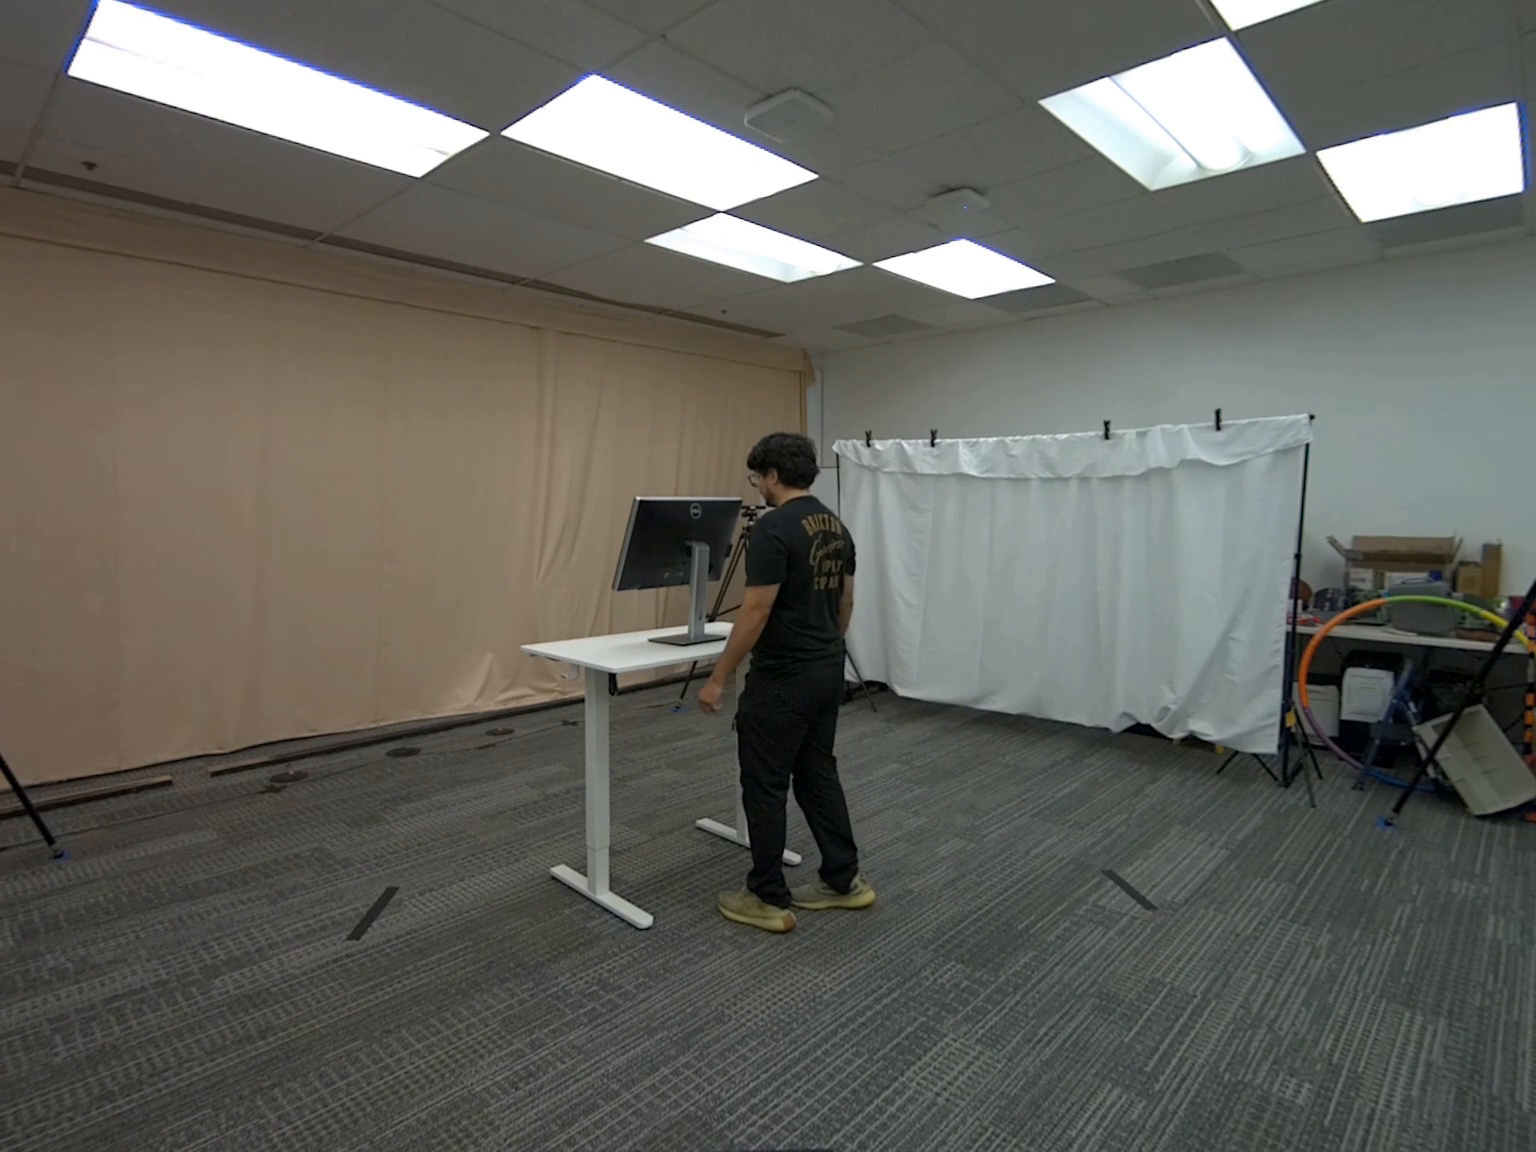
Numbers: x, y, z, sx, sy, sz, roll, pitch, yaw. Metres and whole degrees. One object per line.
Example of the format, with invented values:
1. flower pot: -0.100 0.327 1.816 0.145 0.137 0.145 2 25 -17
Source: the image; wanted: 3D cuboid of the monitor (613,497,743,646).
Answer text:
1. monitor: -0.285 -0.021 3.169 0.218 0.551 0.548 15 13 39
